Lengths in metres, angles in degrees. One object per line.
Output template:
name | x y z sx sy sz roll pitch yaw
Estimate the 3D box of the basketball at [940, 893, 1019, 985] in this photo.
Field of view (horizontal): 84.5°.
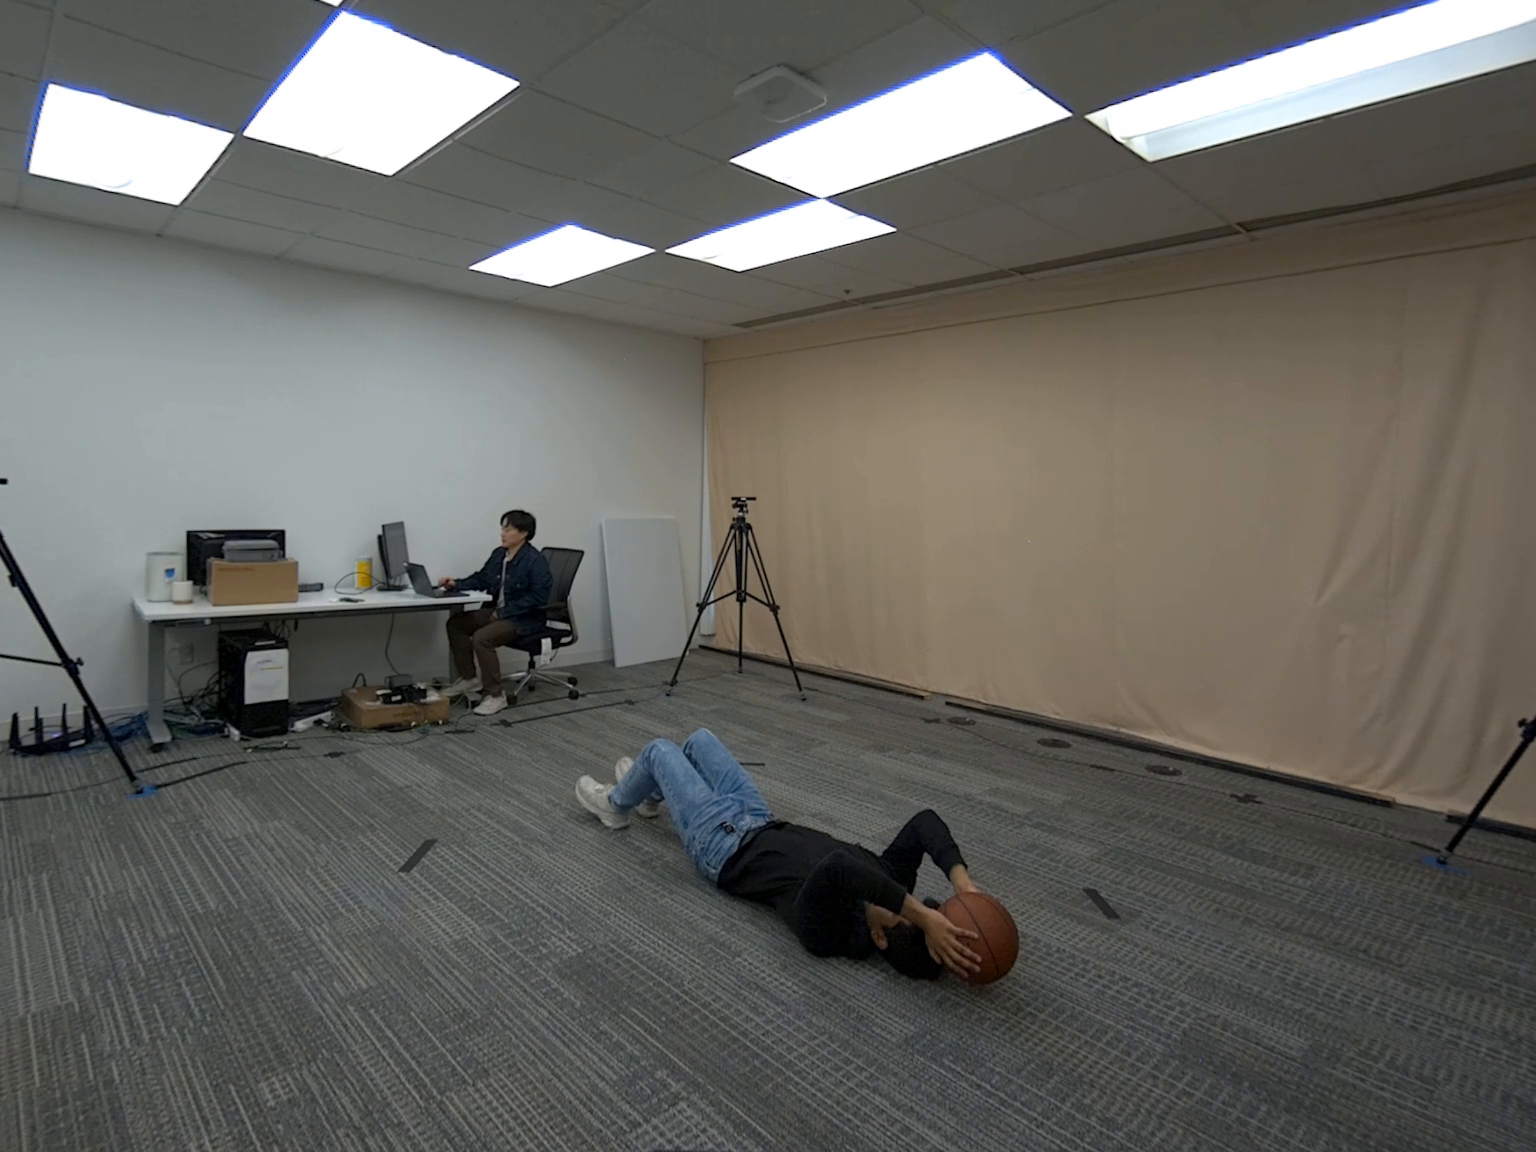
basketball | 0.578 1.013 2.388 0.236 0.235 0.237 1 4 -1
